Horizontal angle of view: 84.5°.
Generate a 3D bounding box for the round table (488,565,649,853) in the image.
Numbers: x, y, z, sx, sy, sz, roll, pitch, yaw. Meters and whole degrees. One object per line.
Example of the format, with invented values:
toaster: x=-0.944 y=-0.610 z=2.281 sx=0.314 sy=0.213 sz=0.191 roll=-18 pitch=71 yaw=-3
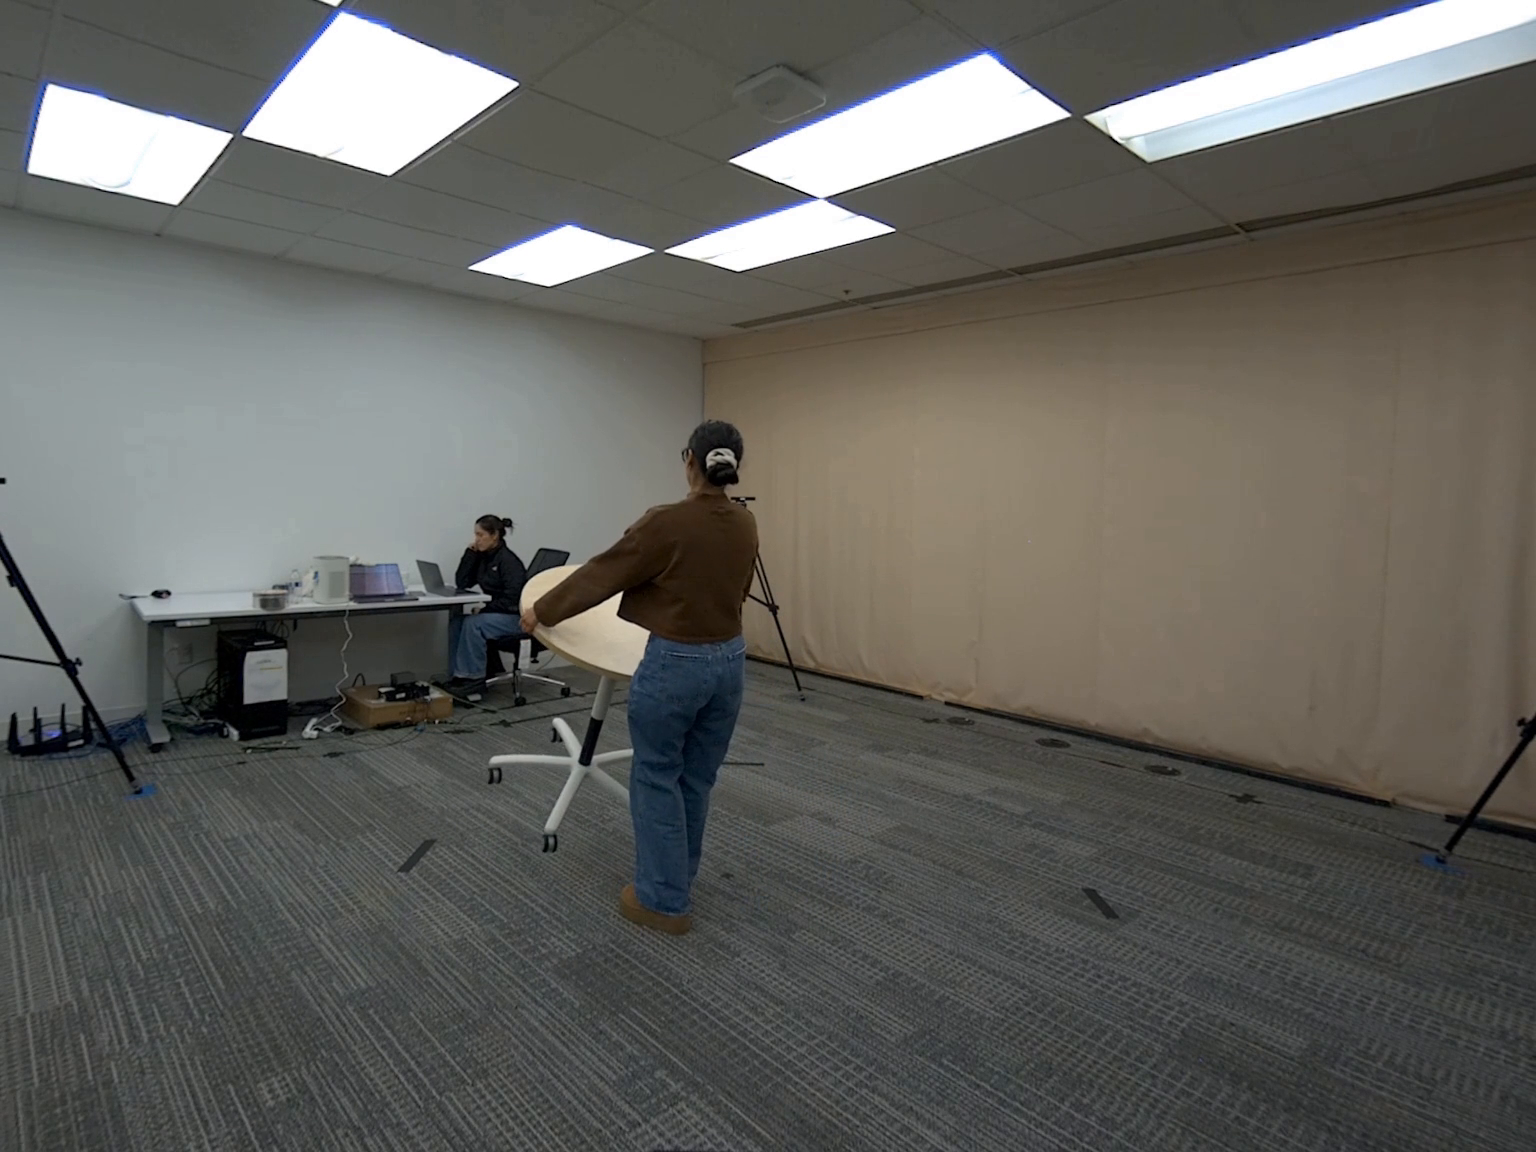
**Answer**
round table: x=-0.654 y=0.494 z=3.178 sx=0.779 sy=0.780 sz=0.797 roll=17 pitch=21 yaw=-8
